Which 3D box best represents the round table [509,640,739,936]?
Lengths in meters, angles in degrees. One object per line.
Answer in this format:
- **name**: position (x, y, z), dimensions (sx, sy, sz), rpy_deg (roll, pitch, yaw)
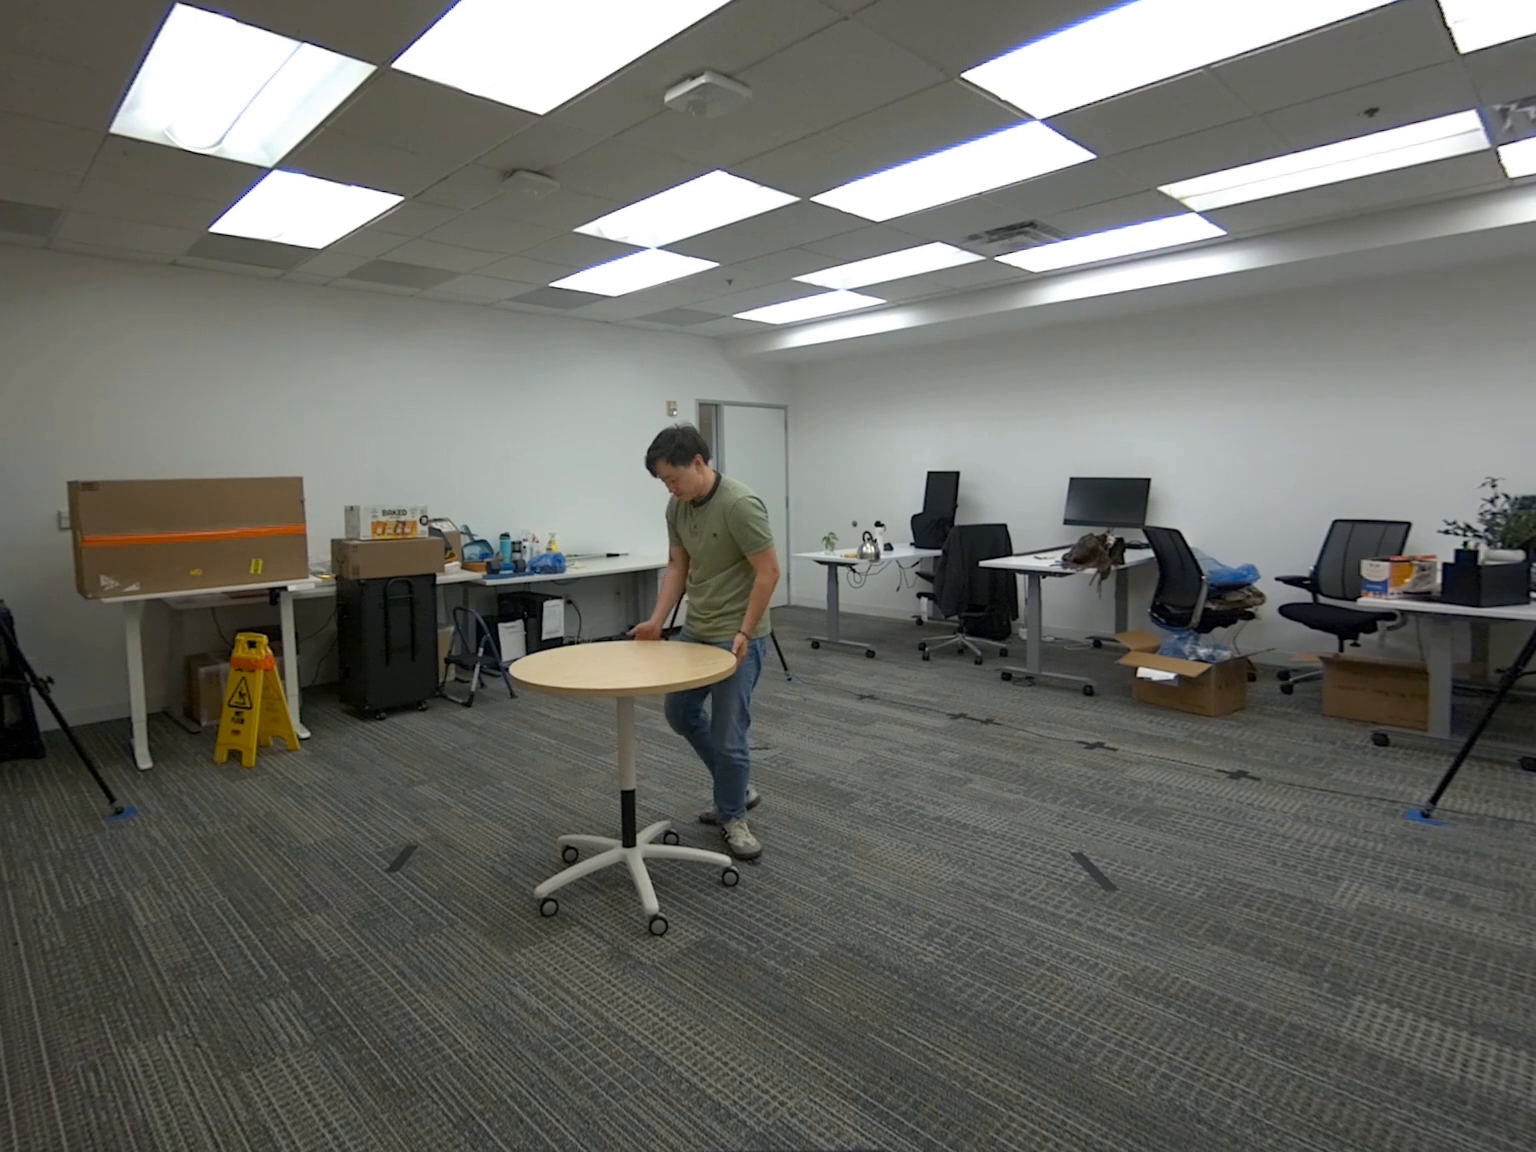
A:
- **round table**: position (-0.481, 0.683, 2.928), dimensions (0.763, 0.791, 0.768), rpy_deg (-2, 5, -2)
